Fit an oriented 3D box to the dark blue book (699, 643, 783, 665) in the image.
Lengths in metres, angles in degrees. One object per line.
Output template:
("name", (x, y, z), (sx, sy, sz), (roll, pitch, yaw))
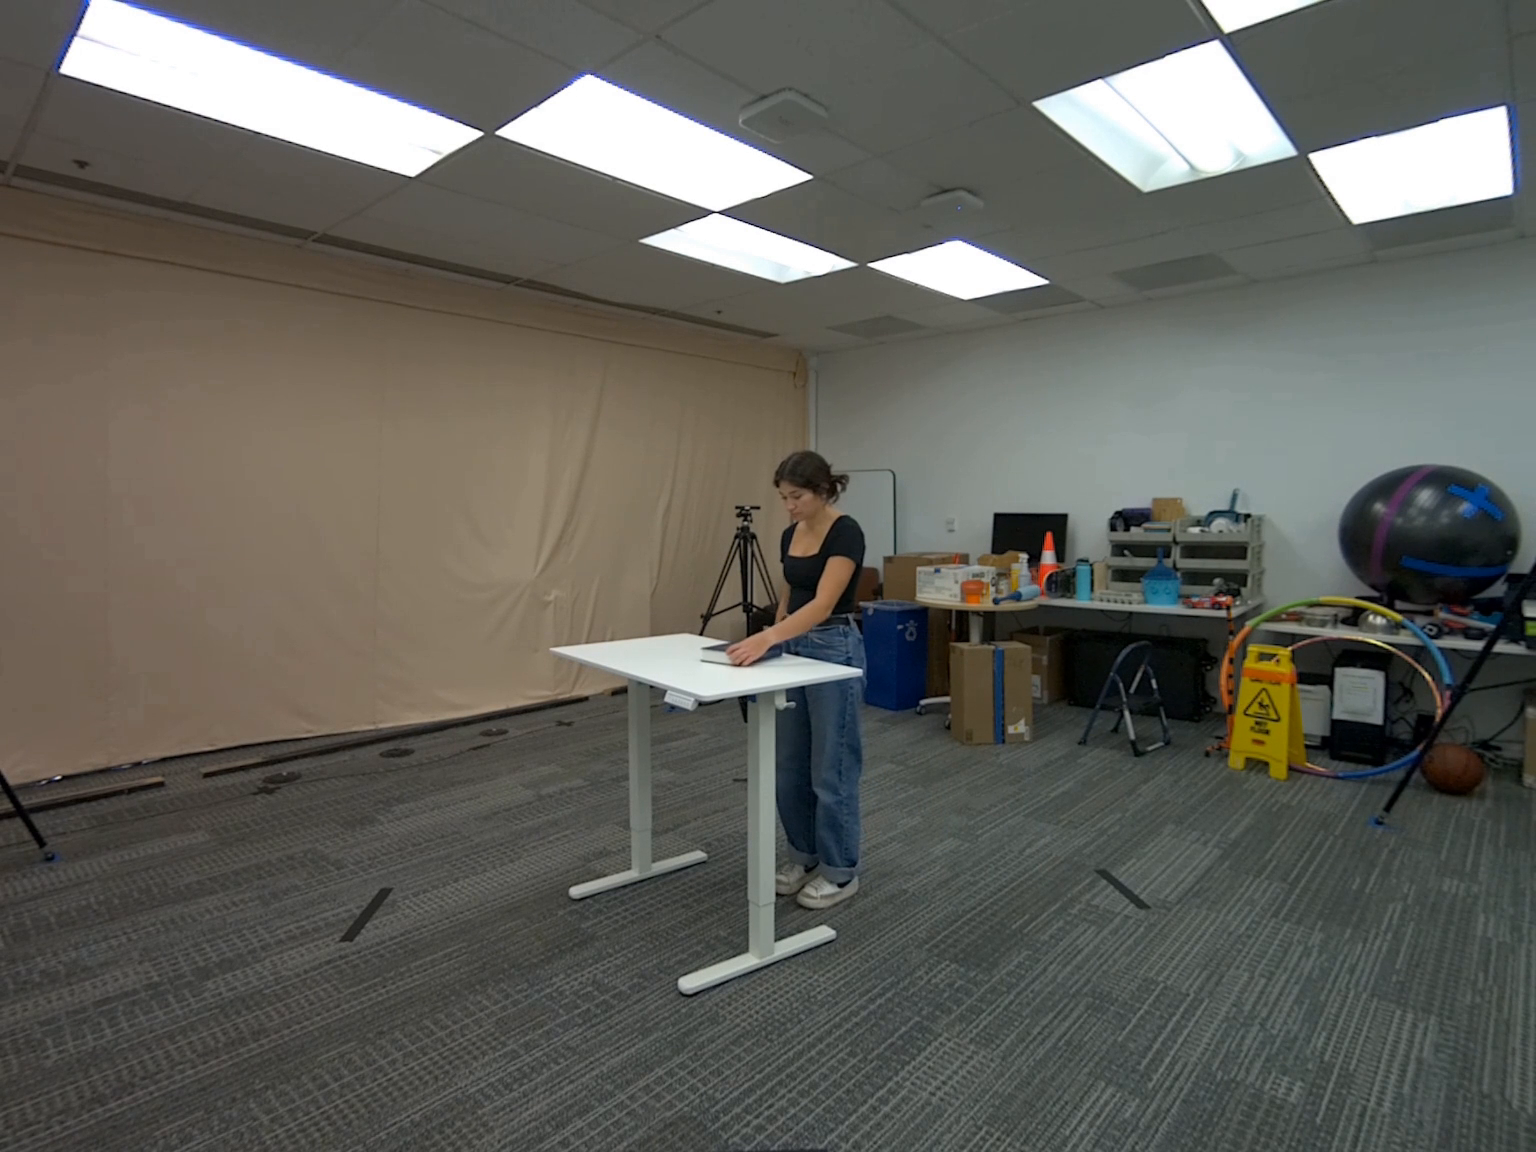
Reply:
("dark blue book", (-0.092, 0.259, 2.816), (0.169, 0.045, 0.238), (5, 7, 37))
